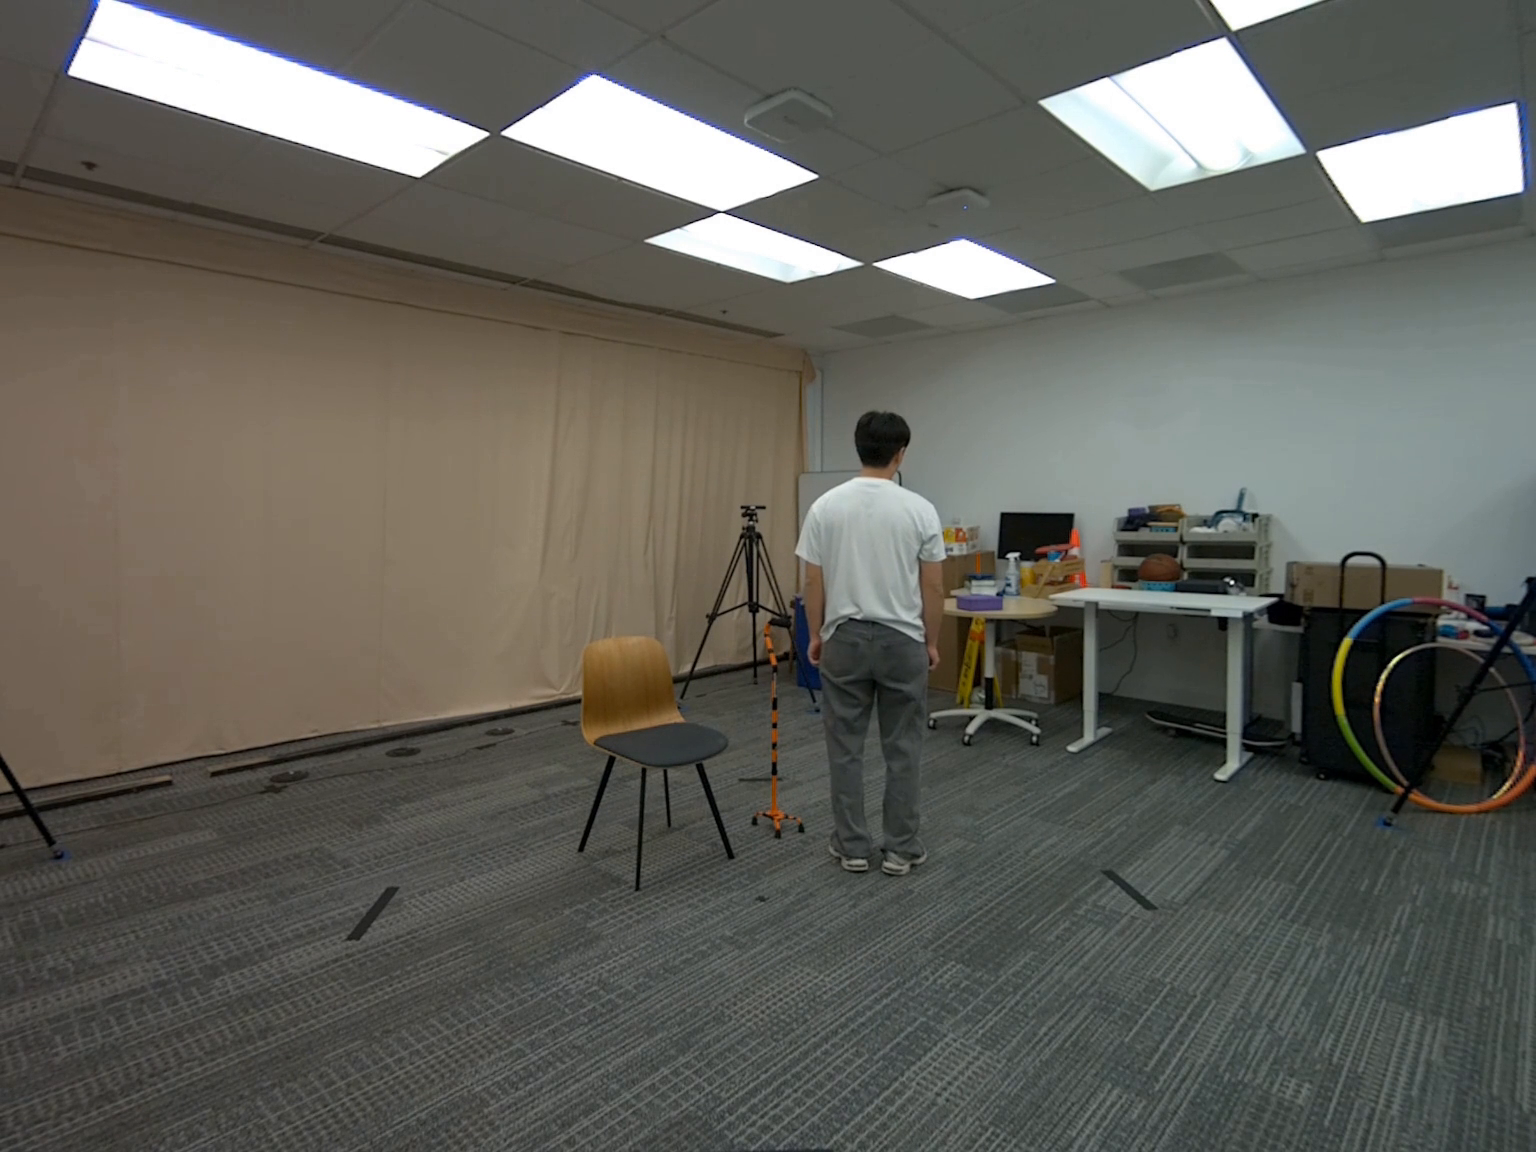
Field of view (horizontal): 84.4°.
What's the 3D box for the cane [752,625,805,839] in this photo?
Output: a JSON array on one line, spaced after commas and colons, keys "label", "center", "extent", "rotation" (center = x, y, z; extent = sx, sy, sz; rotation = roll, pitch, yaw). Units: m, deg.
[{"label": "cane", "center": [0.048, 0.639, 3.629], "extent": [0.147, 0.906, 0.213], "rotation": [-2, 3, -36]}]
